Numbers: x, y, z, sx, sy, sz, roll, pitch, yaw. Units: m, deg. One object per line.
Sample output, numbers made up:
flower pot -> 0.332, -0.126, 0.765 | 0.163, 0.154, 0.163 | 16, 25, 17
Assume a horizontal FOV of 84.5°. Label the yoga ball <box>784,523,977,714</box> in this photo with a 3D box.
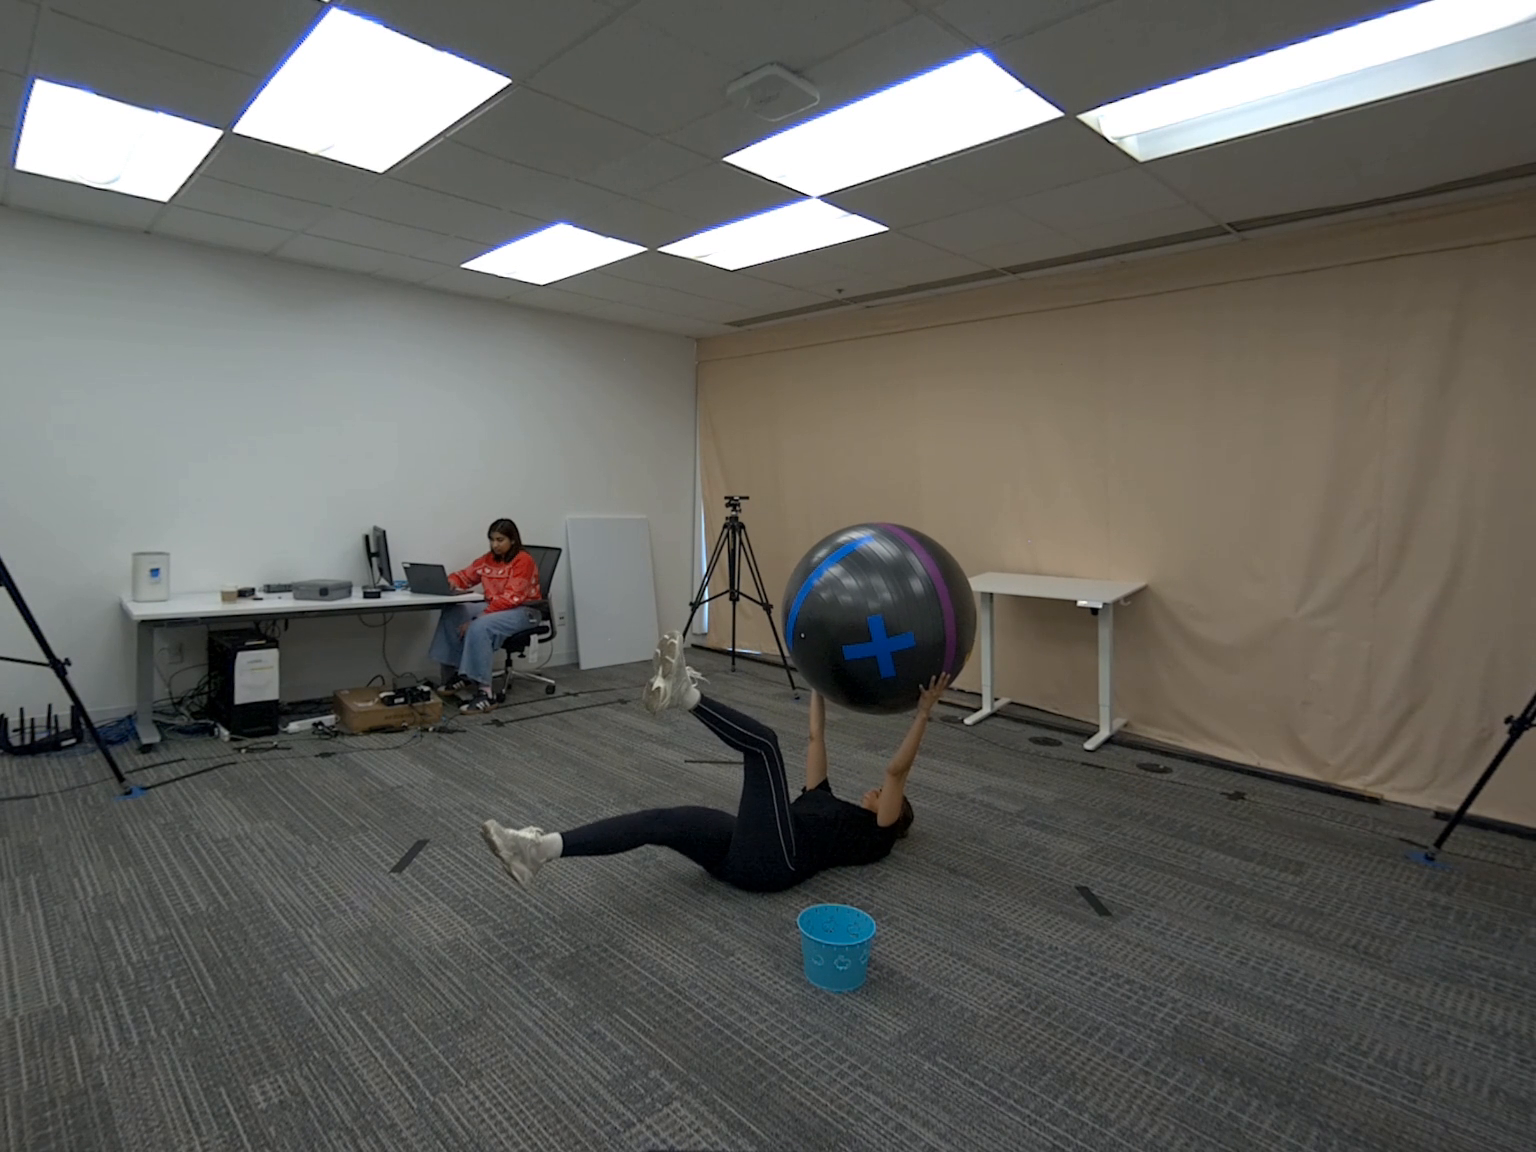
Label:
yoga ball -> 0.430, 0.169, 3.330 | 0.757, 0.754, 0.762 | 0, 7, -1
